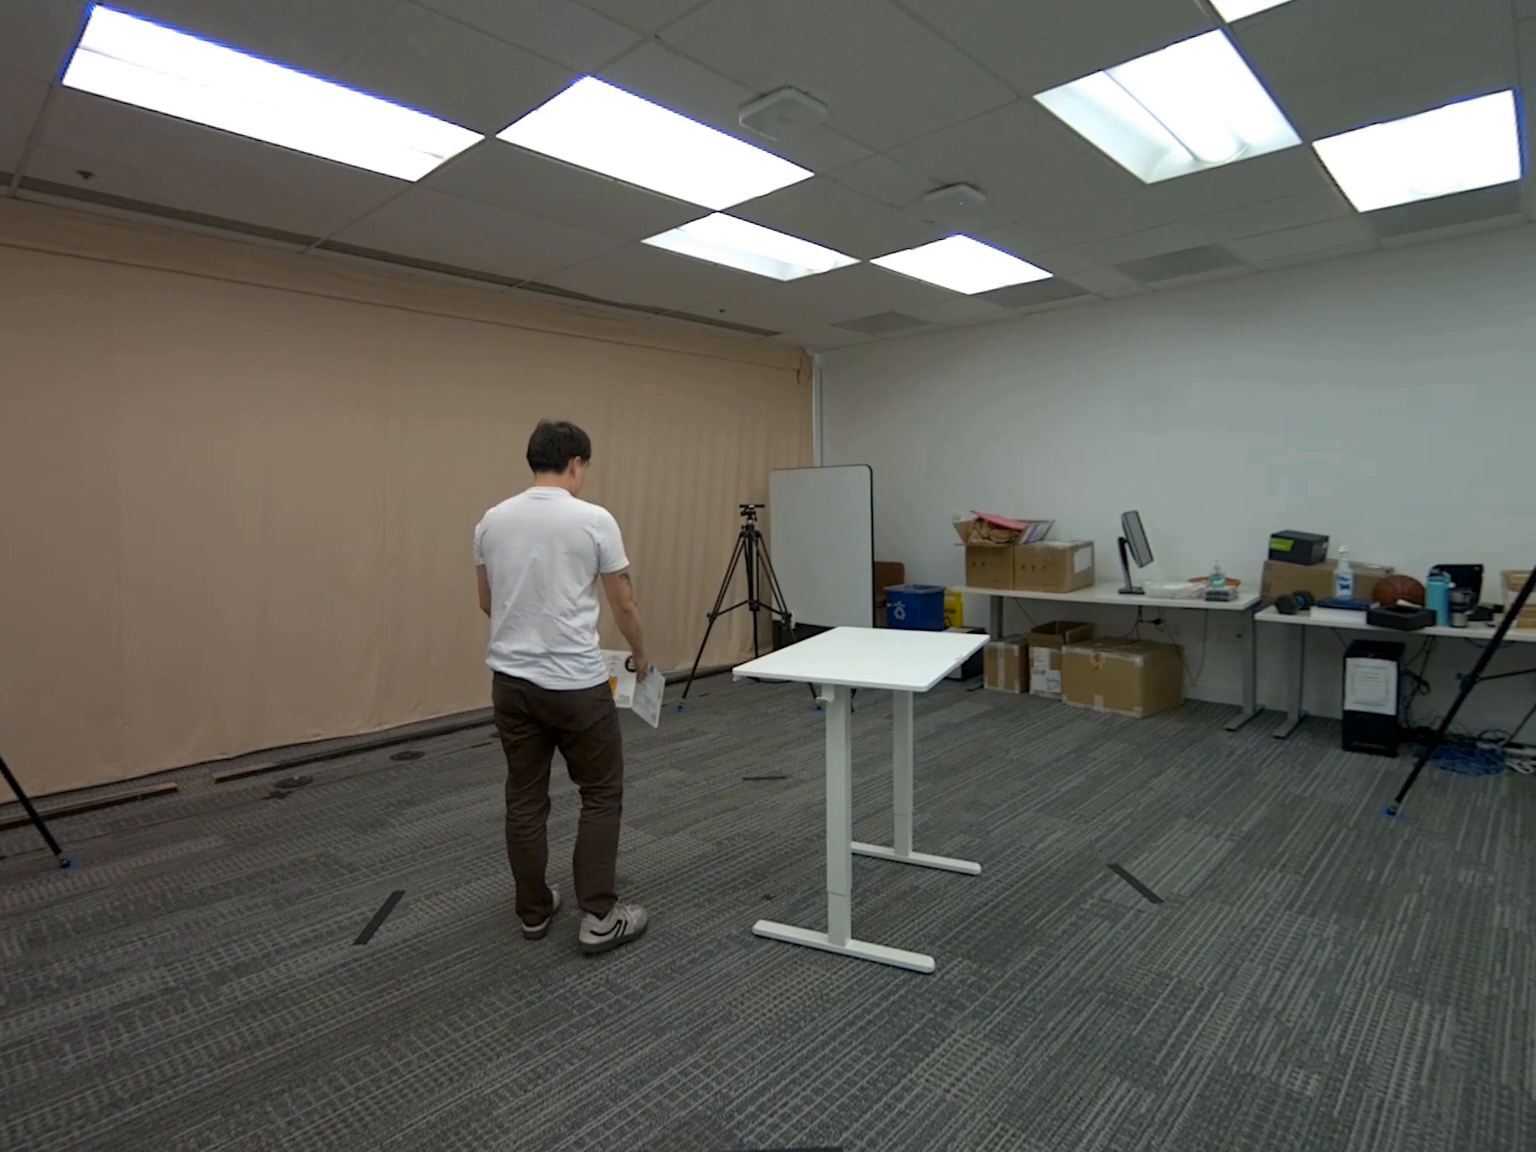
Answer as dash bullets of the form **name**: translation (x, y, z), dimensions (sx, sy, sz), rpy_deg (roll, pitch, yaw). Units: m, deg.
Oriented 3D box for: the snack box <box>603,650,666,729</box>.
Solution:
- **snack box**: translation (-0.634, 0.446, 3.154), dimensions (0.411, 0.207, 0.332), rpy_deg (3, -21, 13)
